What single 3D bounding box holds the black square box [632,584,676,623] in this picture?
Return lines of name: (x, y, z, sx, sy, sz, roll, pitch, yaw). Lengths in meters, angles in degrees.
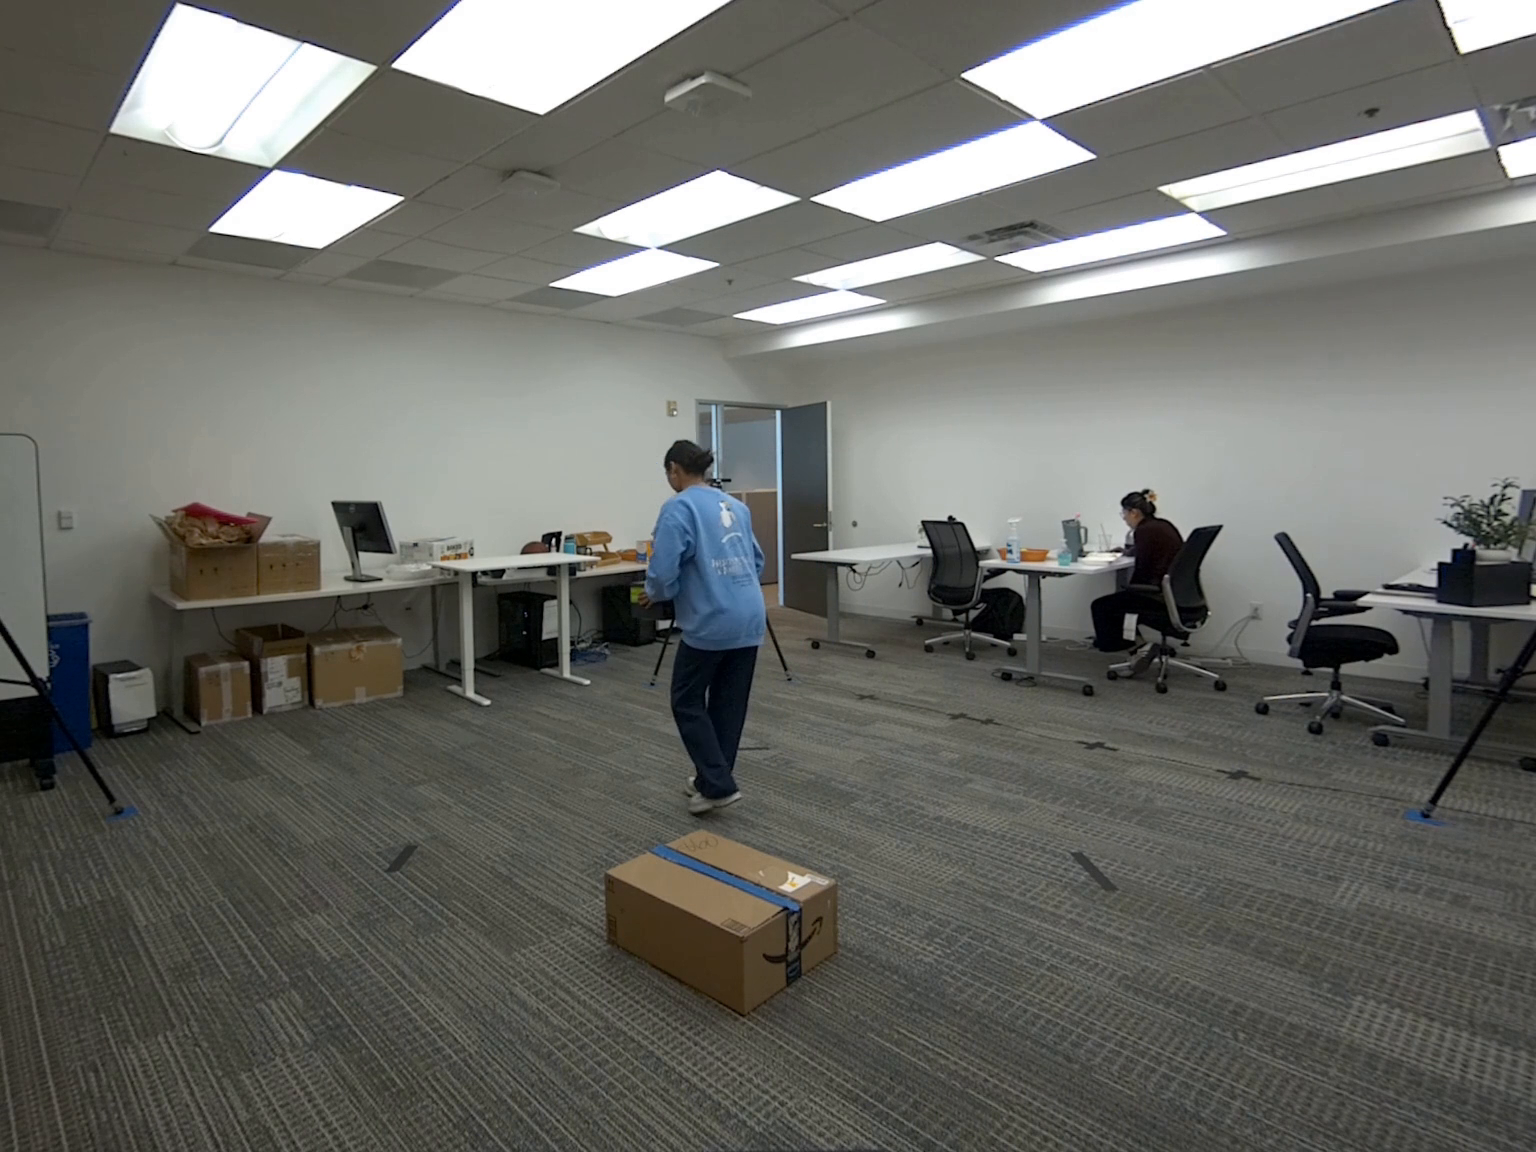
black square box: (-0.447, 0.111, 3.810, 0.234, 0.156, 0.211, 0, 3, 43)
